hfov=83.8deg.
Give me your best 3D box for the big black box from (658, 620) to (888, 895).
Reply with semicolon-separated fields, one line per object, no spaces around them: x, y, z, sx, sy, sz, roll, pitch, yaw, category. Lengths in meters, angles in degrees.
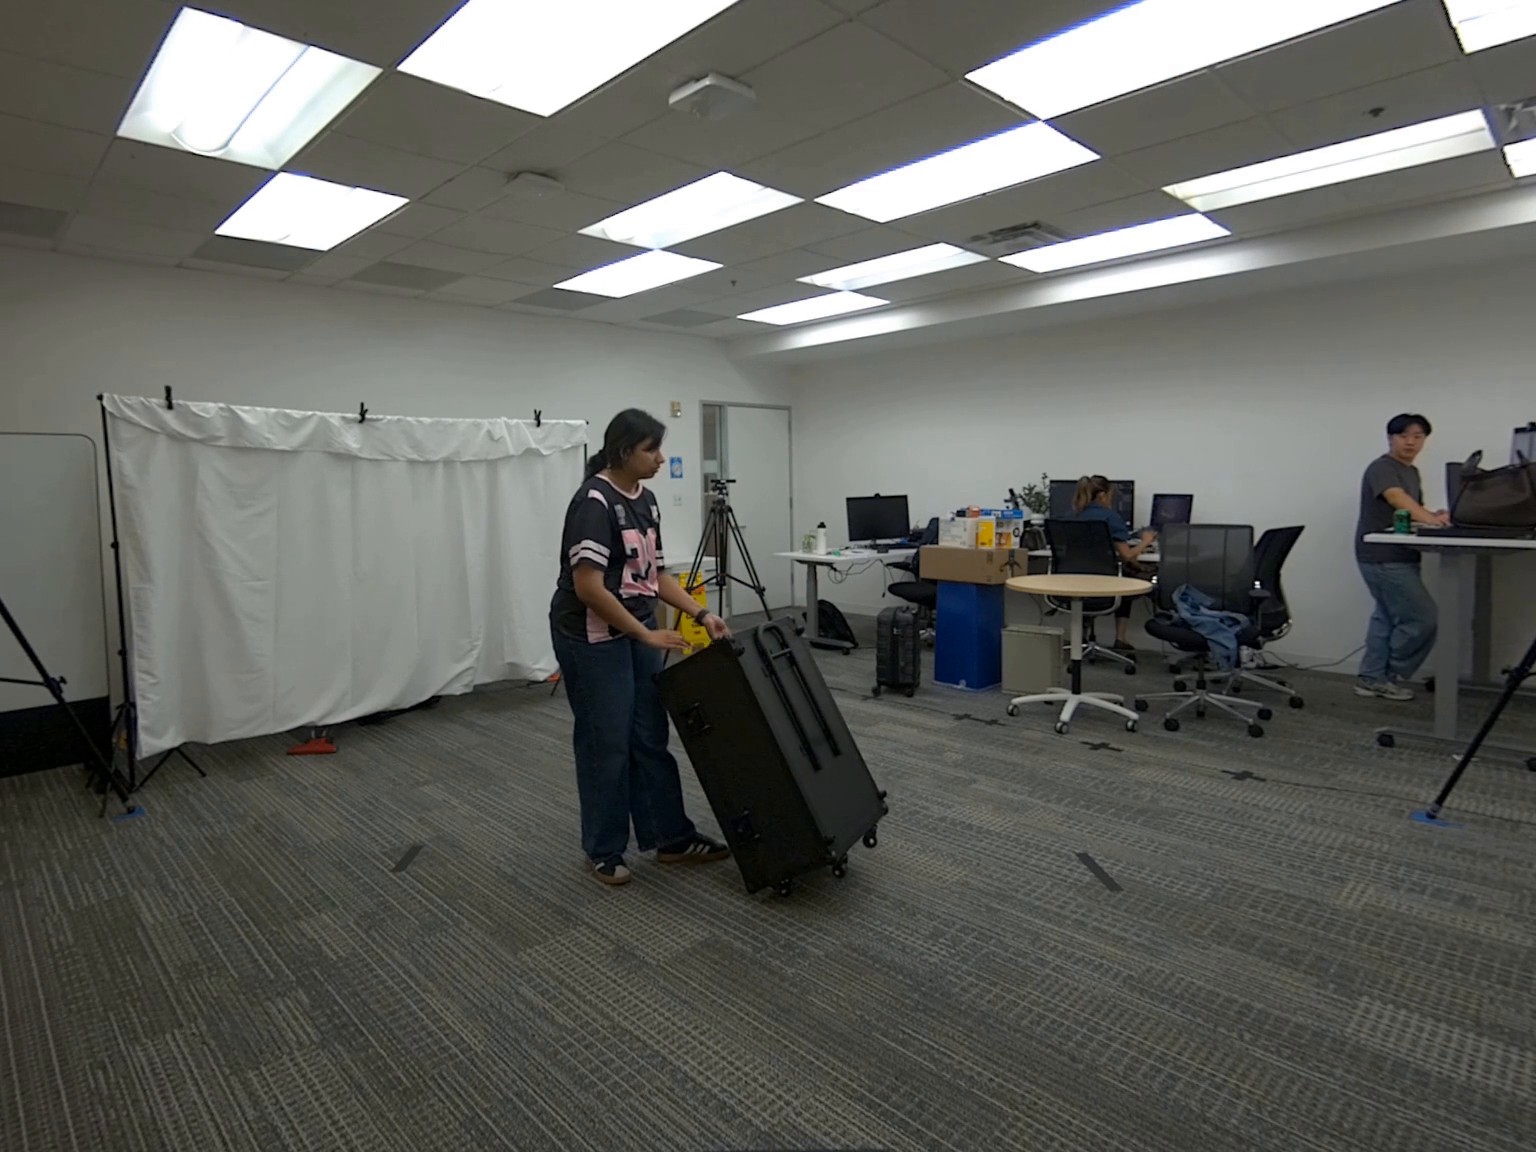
0.035;0.624;3.006;0.388;0.880;0.512;-32;-11;27;big black box
